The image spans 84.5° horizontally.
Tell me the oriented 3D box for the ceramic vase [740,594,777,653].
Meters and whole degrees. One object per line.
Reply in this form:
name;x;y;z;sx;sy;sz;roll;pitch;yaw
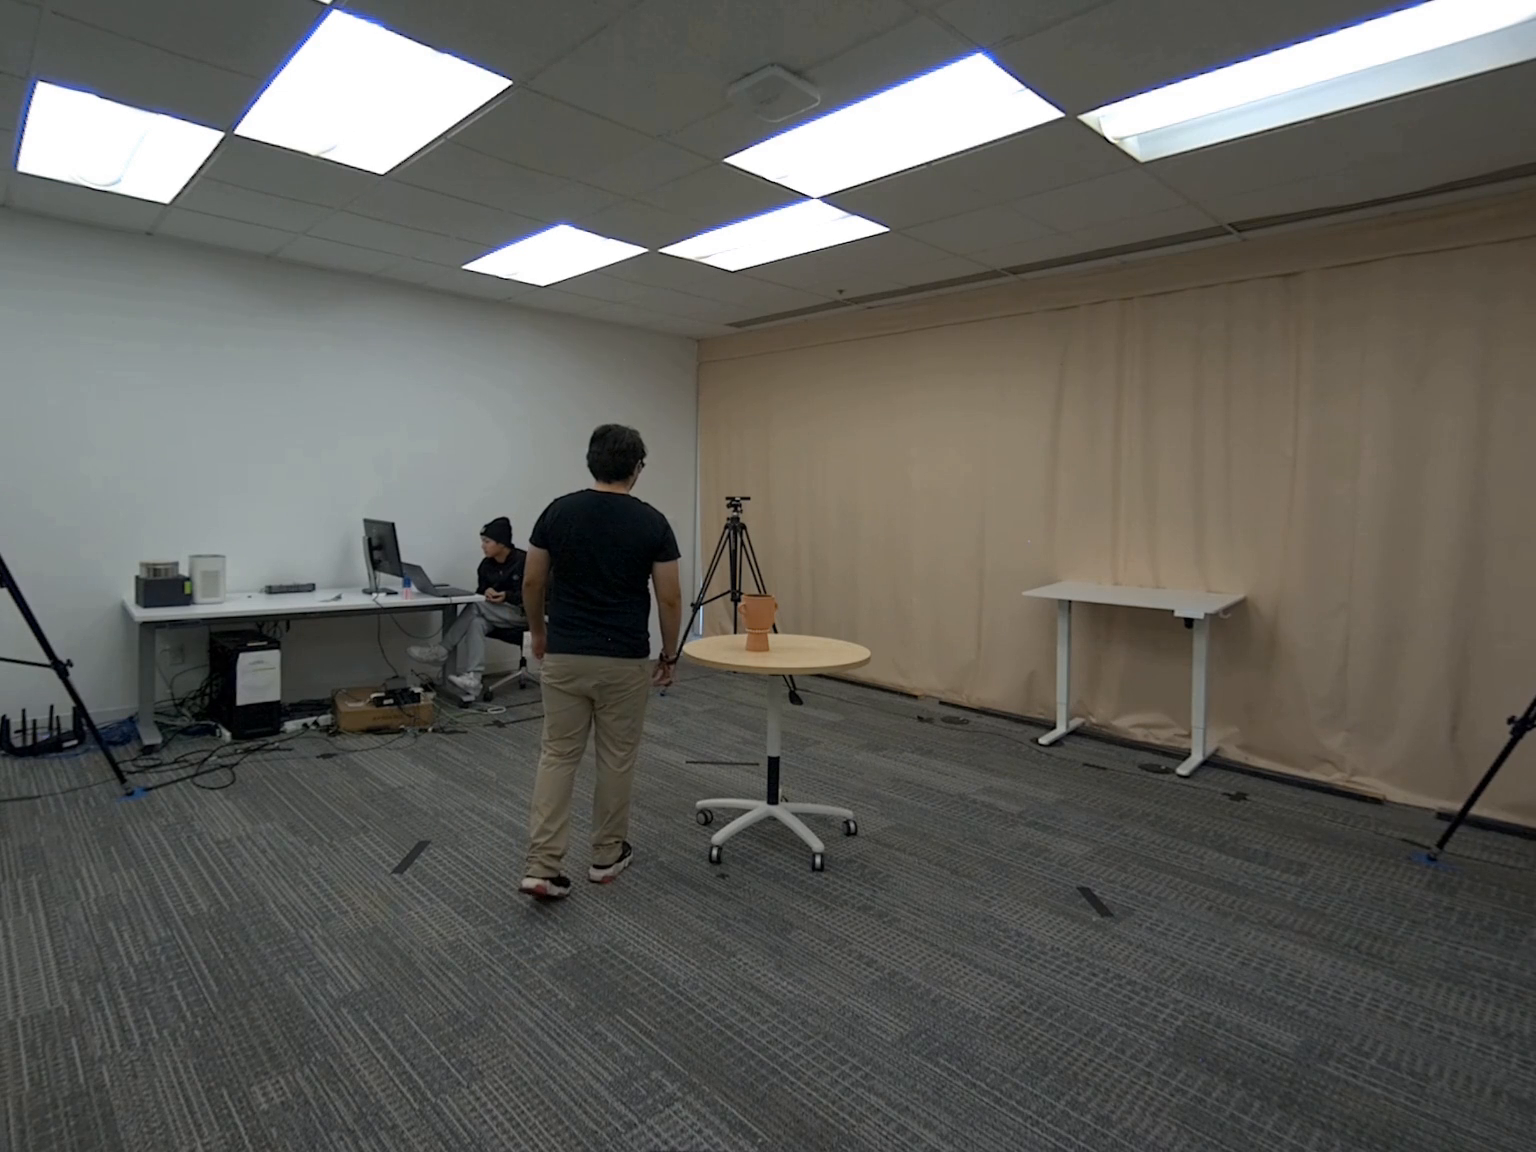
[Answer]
ceramic vase;-0.049;0.194;3.419;0.159;0.219;0.134;1;2;1
